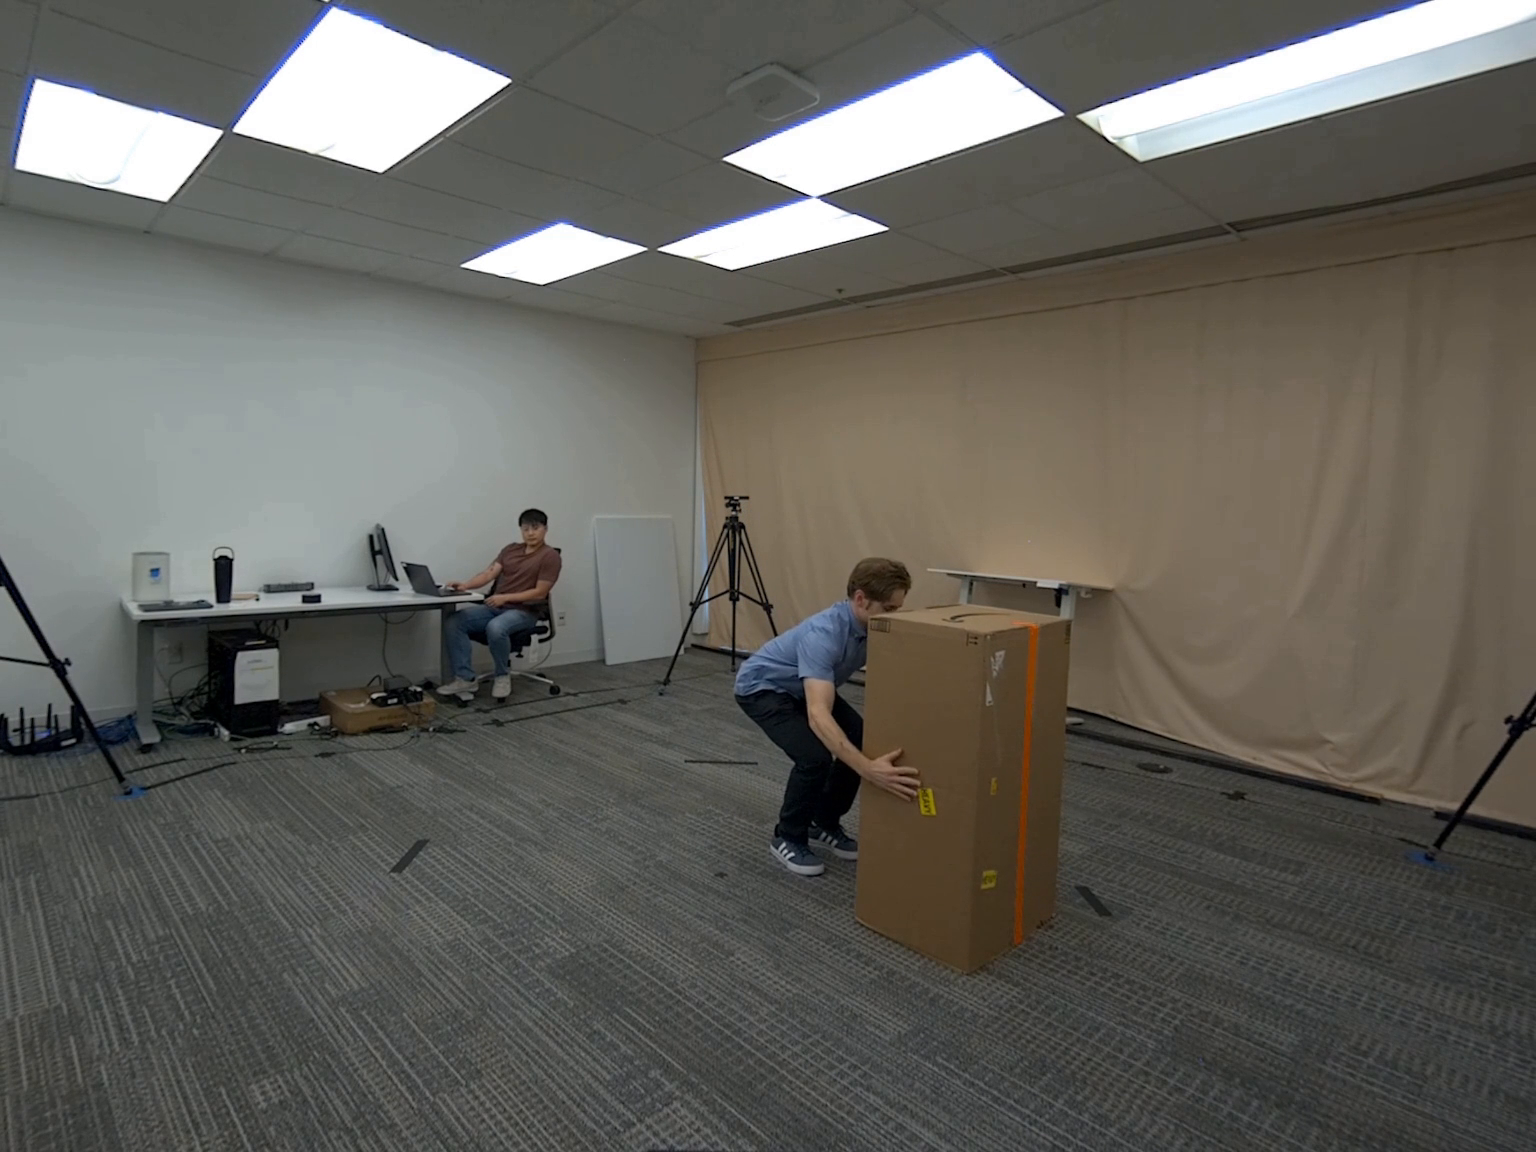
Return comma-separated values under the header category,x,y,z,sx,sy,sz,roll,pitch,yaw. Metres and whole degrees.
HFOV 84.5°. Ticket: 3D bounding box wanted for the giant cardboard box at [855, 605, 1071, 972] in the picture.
category,x,y,z,sx,sy,sz,roll,pitch,yaw
giant cardboard box,0.653,0.644,2.797,0.564,1.023,0.437,-2,4,-45
